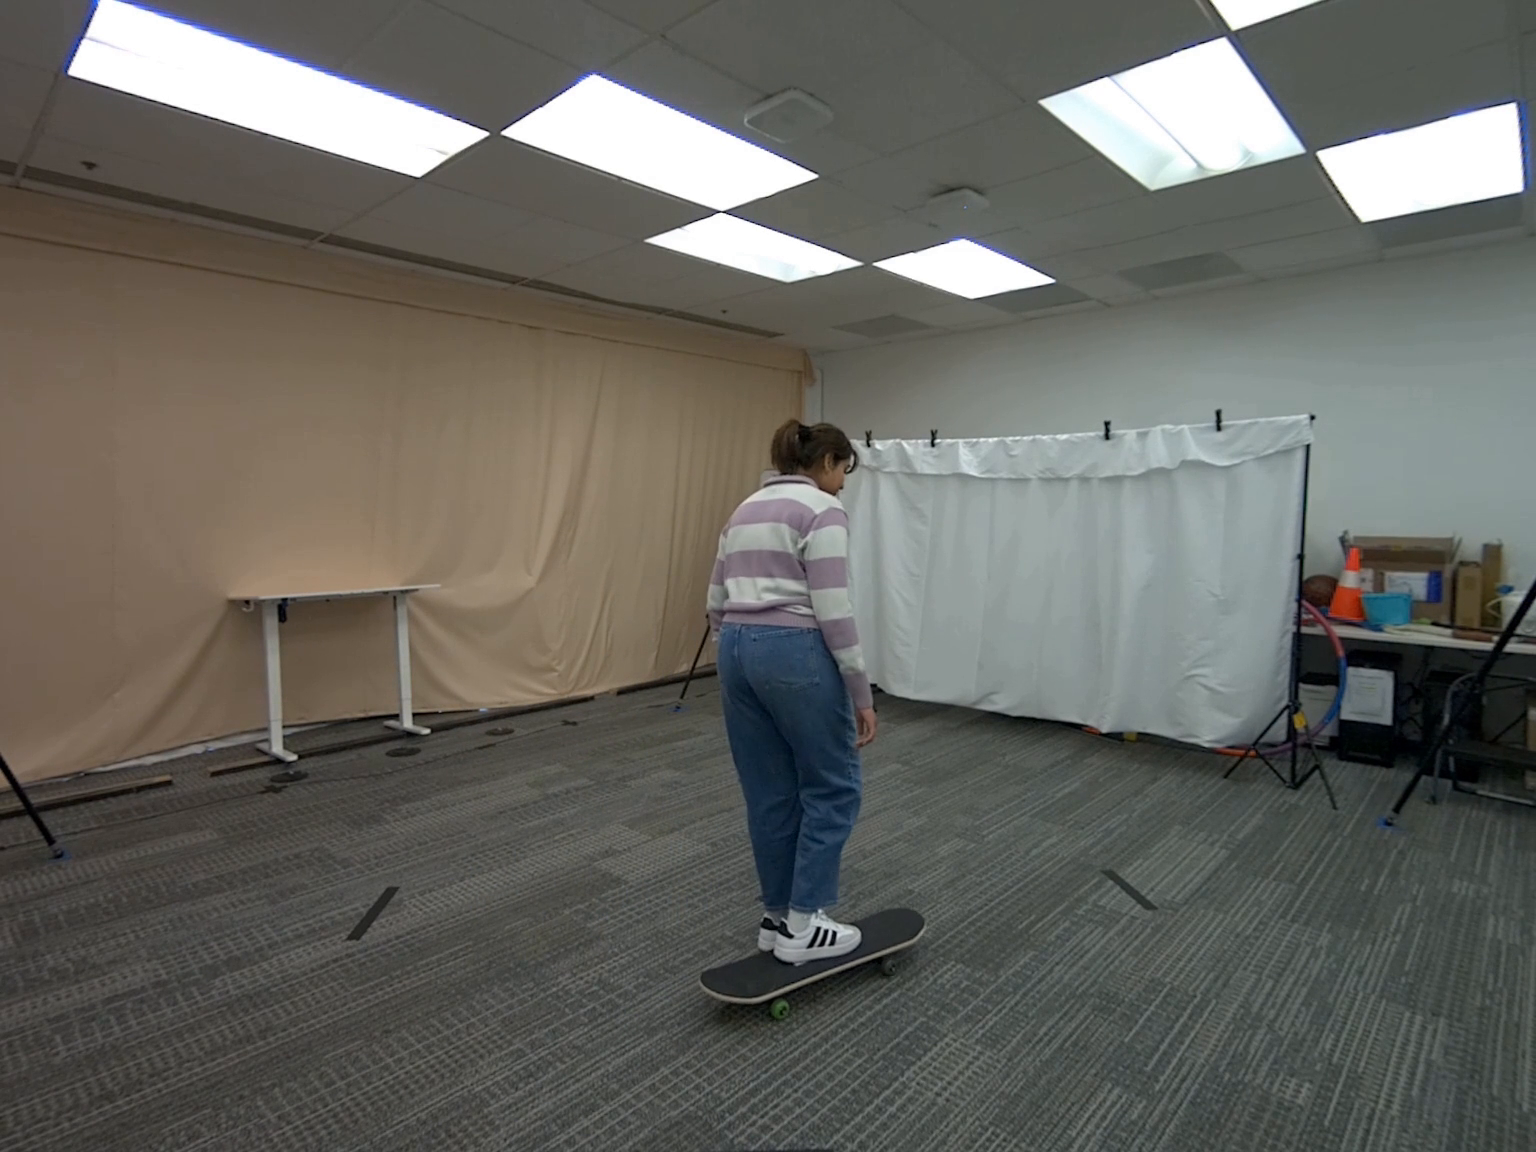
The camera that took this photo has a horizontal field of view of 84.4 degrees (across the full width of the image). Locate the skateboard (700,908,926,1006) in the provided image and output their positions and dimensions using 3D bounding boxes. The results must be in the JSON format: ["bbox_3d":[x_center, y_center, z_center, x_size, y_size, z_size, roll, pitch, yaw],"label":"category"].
[{"bbox_3d":[0.166,1.131,2.462,0.764,0.110,0.199,-3,3,-32],"label":"skateboard"}]
